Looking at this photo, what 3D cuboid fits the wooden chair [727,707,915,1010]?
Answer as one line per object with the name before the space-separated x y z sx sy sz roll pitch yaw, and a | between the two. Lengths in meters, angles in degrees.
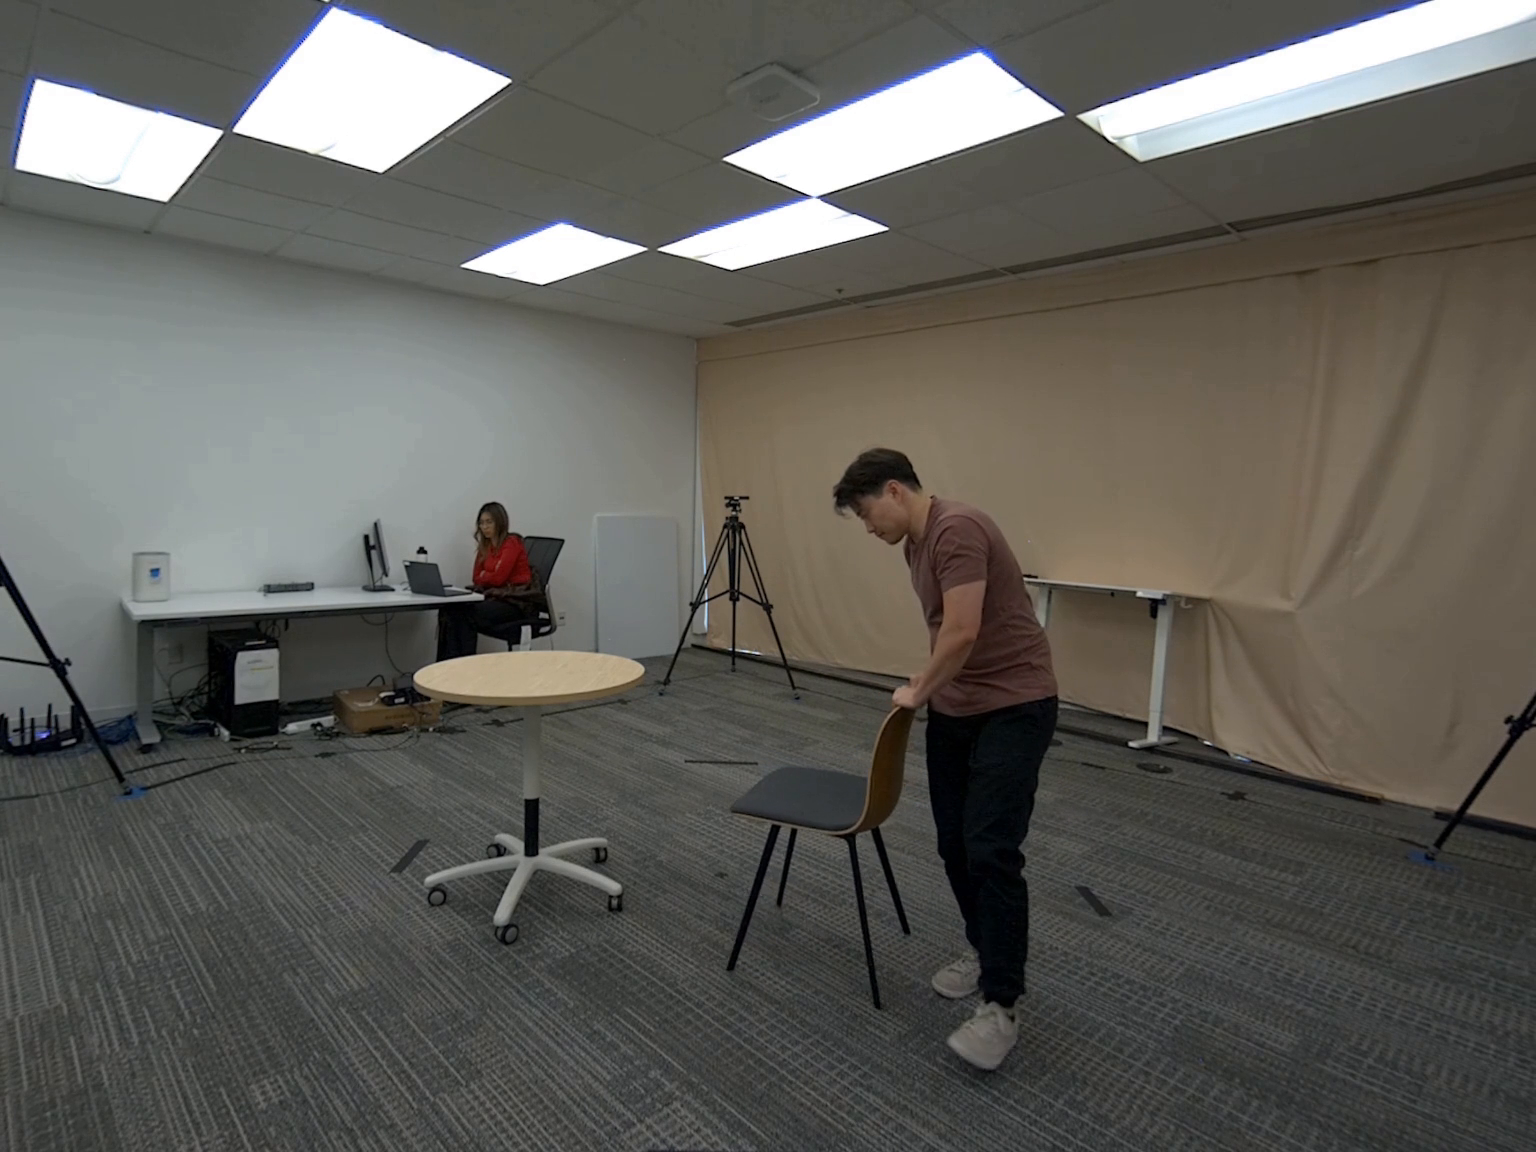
wooden chair | 0.165 0.733 2.569 0.533 0.874 0.471 8 6 21
